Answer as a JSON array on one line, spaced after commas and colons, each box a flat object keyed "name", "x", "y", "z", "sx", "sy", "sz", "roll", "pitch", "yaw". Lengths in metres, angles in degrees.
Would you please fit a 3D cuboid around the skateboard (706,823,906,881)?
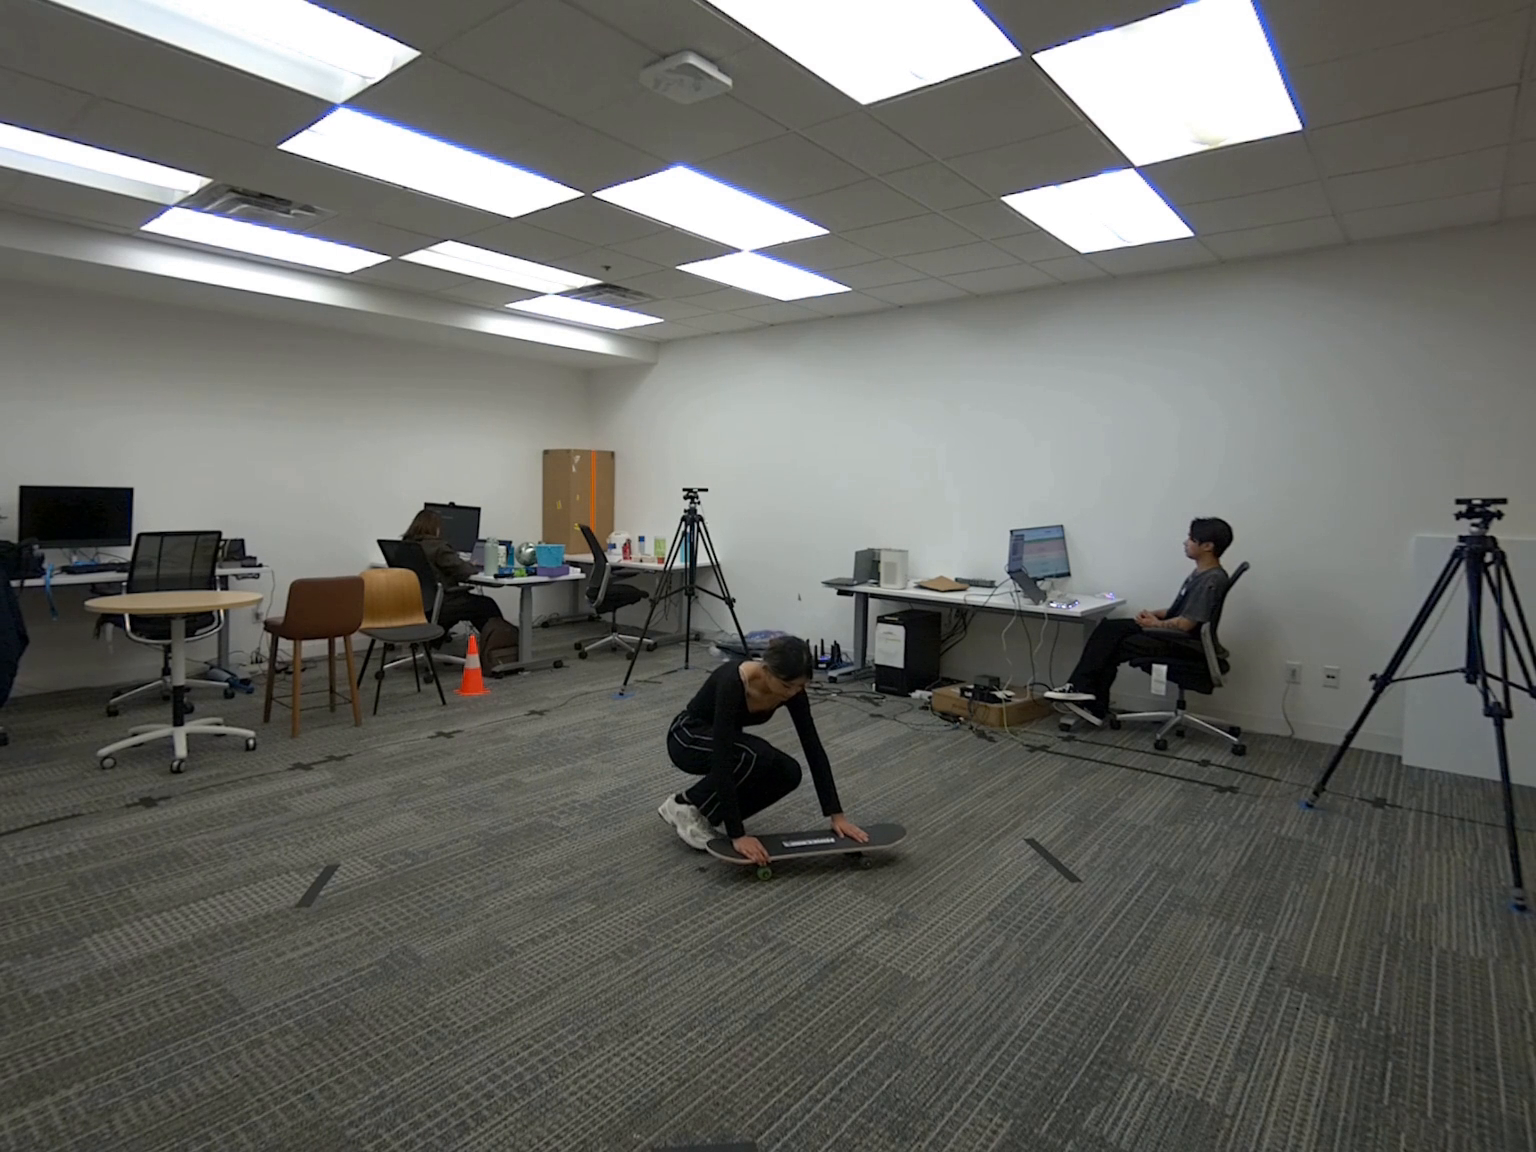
[{"name": "skateboard", "x": 0.146, "y": 1.012, "z": 3.164, "sx": 0.772, "sy": 0.110, "sz": 0.198, "roll": -2, "pitch": 7, "yaw": -16}]
